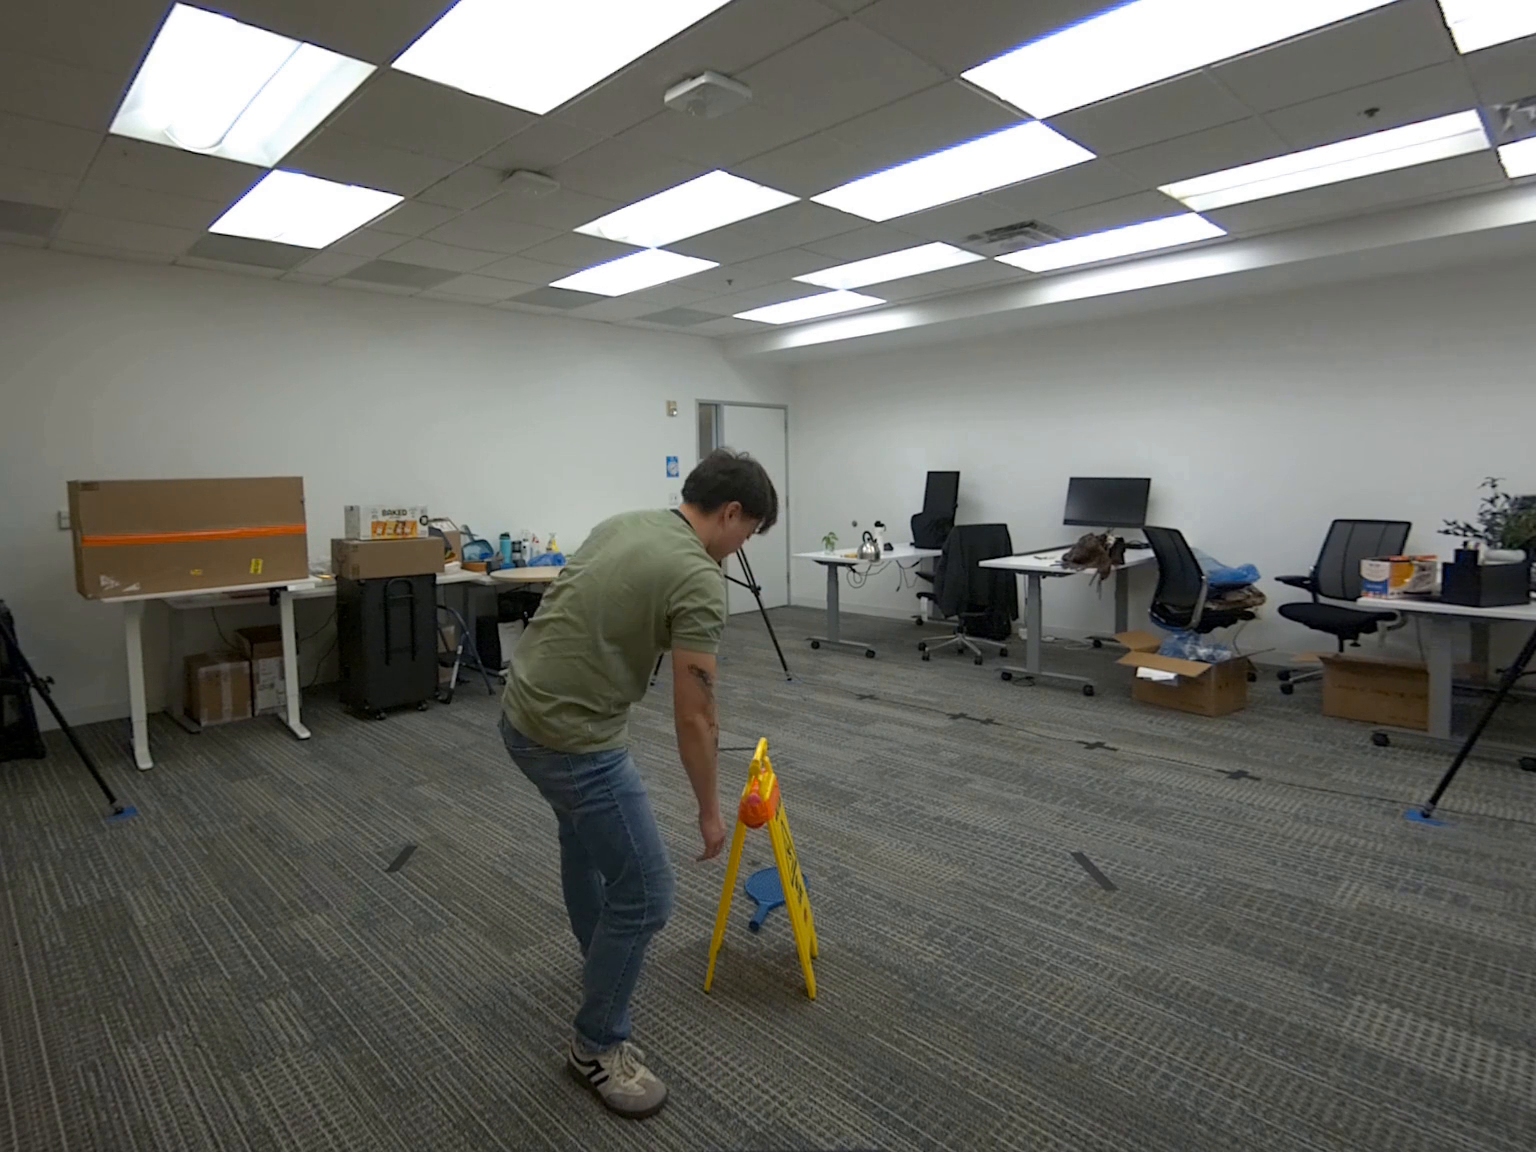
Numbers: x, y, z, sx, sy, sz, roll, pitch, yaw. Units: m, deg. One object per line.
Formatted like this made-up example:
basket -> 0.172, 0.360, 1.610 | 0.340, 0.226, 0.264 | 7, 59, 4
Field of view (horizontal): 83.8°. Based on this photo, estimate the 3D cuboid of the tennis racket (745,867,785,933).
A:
tennis racket -> 0.010, 1.056, 2.845 | 0.217, 0.031, 0.427 | 1, 5, 16
